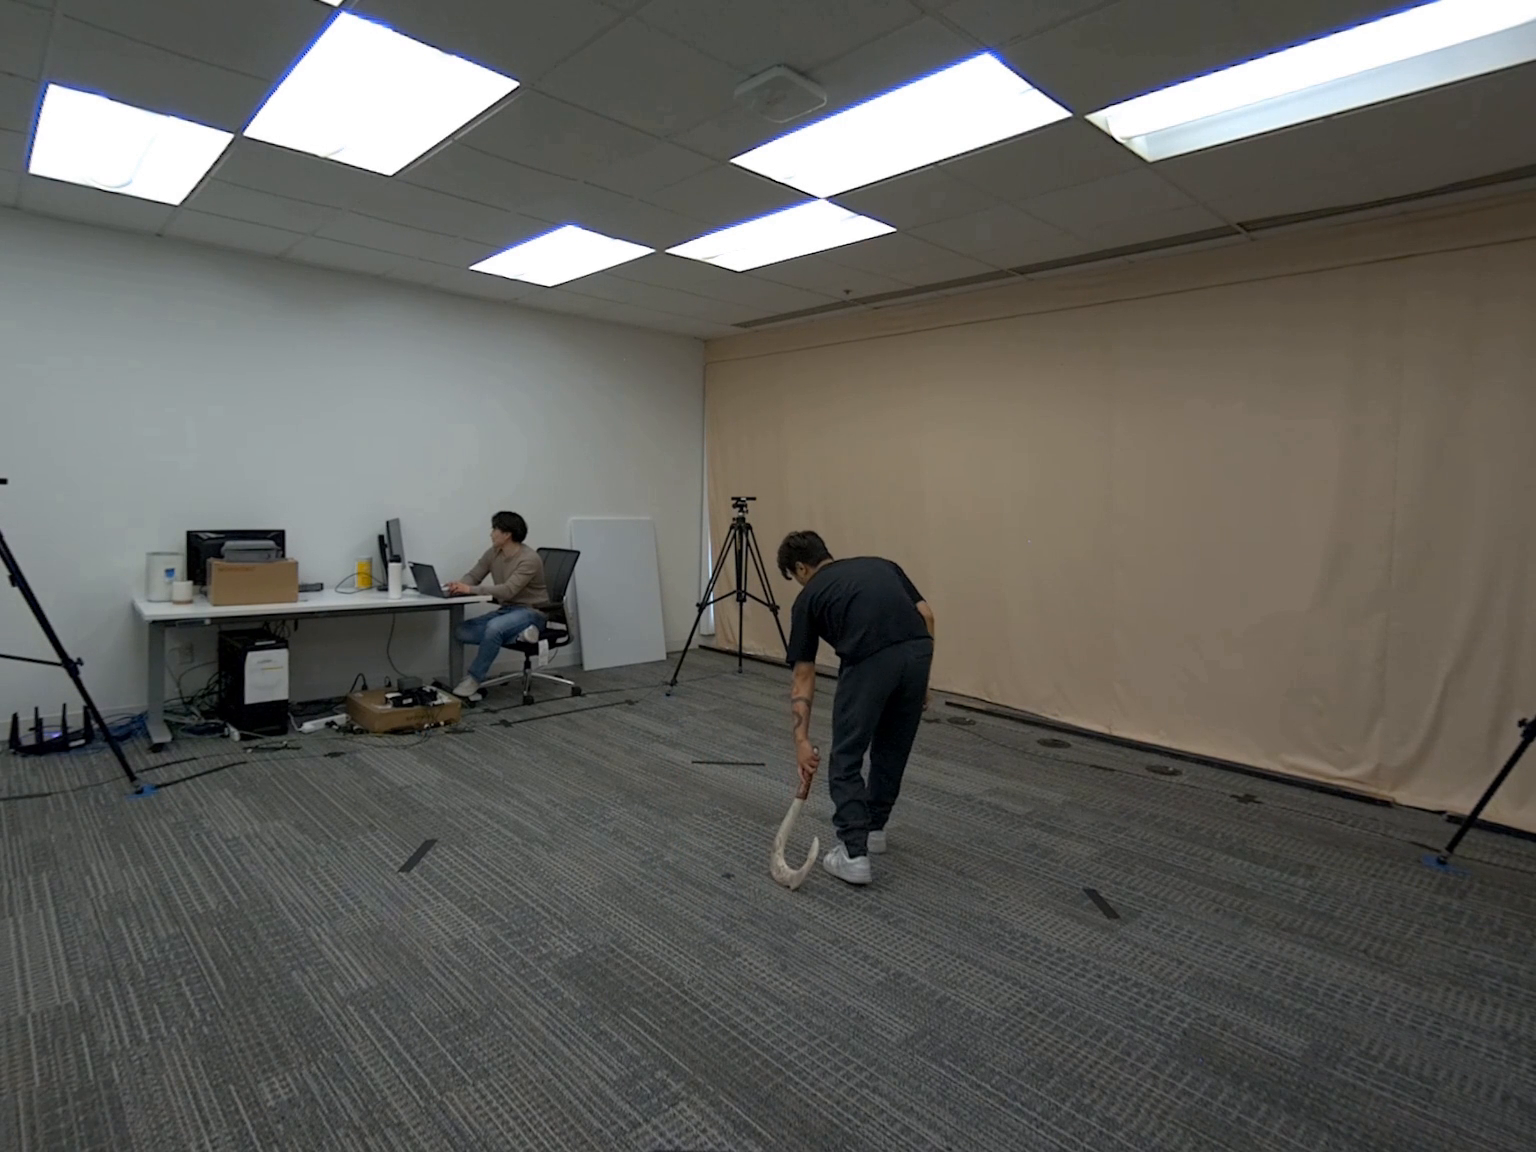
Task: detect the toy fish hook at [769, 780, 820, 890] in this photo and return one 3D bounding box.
[{"bbox_3d":[0.135,0.883,3.093,0.047,0.510,0.230,29,-18,-37],"label":"toy fish hook"}]
